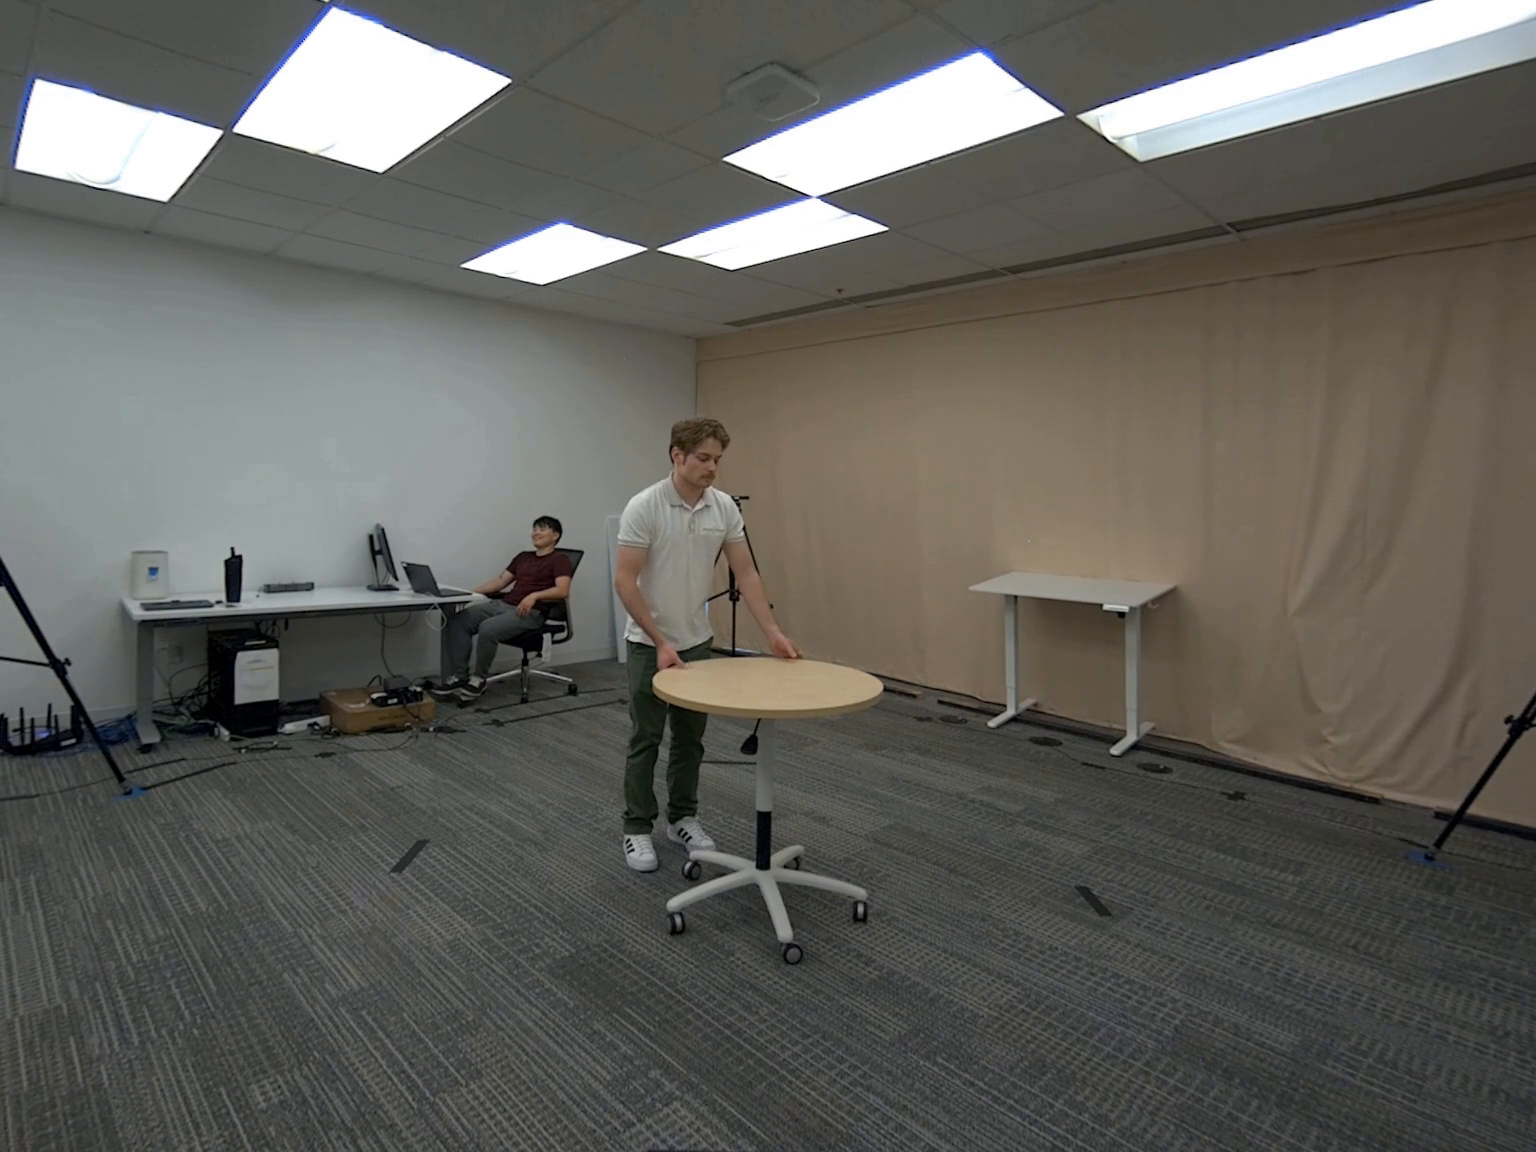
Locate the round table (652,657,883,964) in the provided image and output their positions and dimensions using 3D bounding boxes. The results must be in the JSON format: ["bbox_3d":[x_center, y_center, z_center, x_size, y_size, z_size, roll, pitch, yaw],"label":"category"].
[{"bbox_3d":[-0.015,0.742,2.839,0.763,0.792,0.767,1,4,-1],"label":"round table"}]
